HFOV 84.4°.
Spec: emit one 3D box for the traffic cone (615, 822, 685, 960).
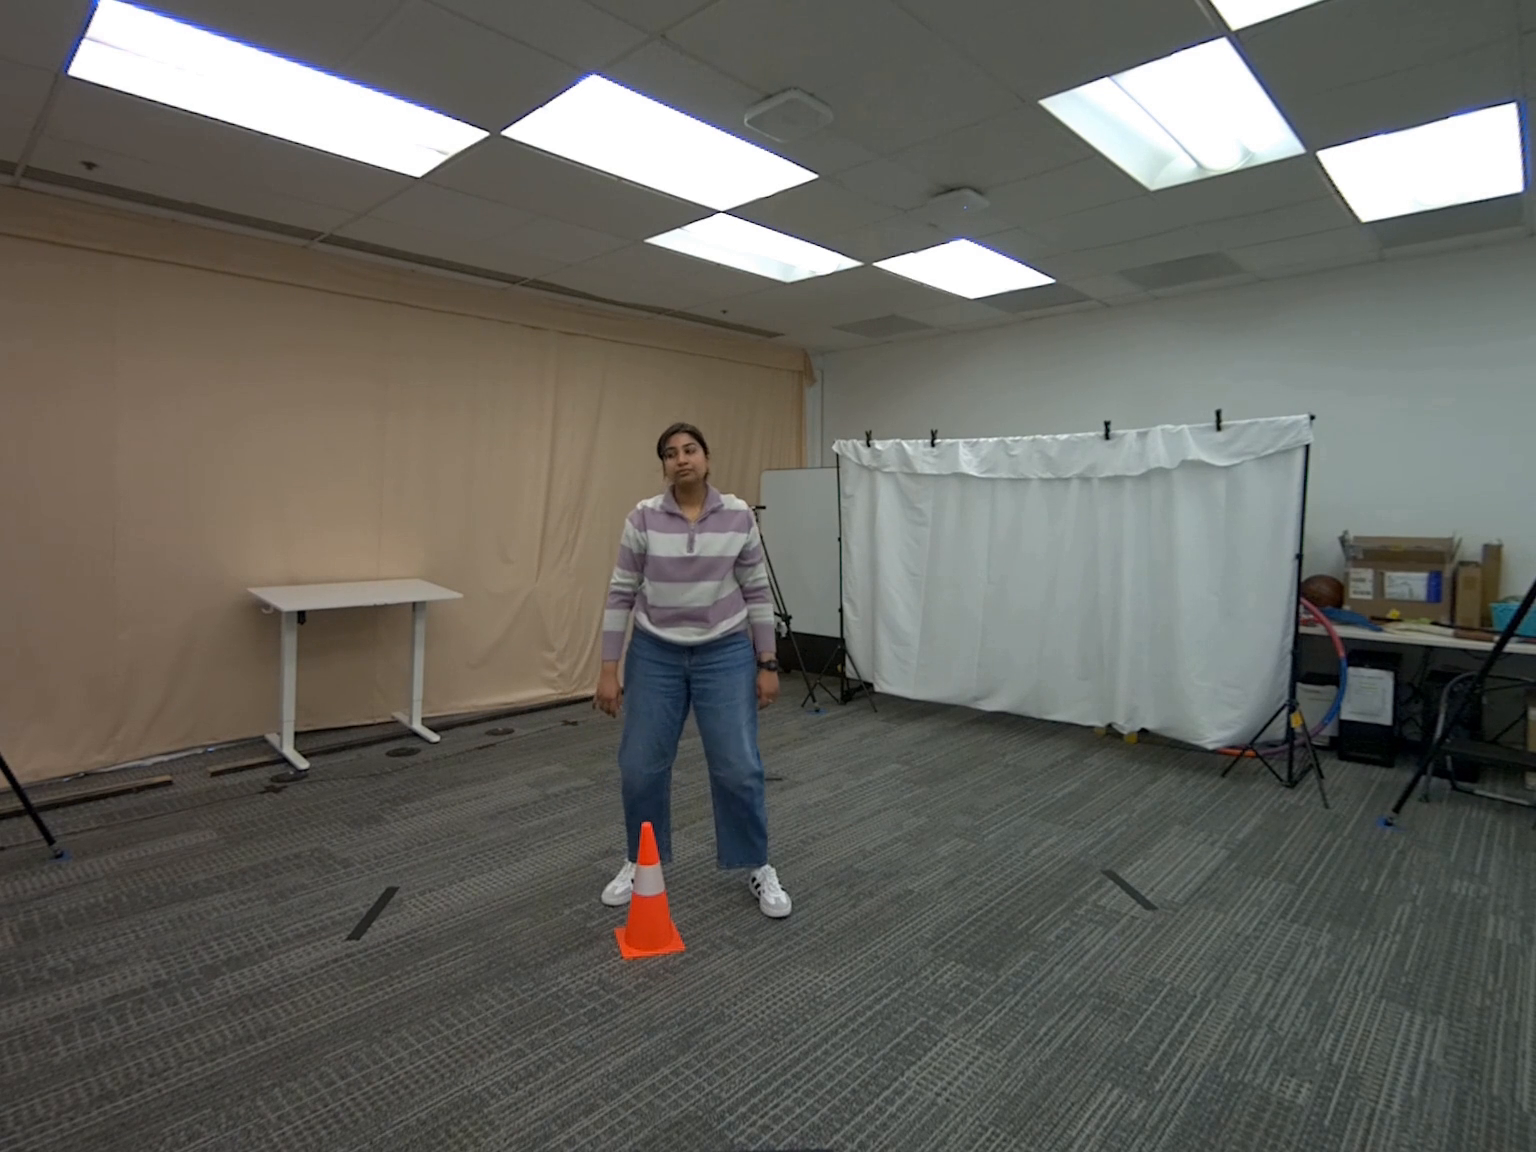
[{"bbox_3d":[-0.385,0.980,2.703,0.201,0.383,0.207,-2,3,-17],"label":"traffic cone"}]
